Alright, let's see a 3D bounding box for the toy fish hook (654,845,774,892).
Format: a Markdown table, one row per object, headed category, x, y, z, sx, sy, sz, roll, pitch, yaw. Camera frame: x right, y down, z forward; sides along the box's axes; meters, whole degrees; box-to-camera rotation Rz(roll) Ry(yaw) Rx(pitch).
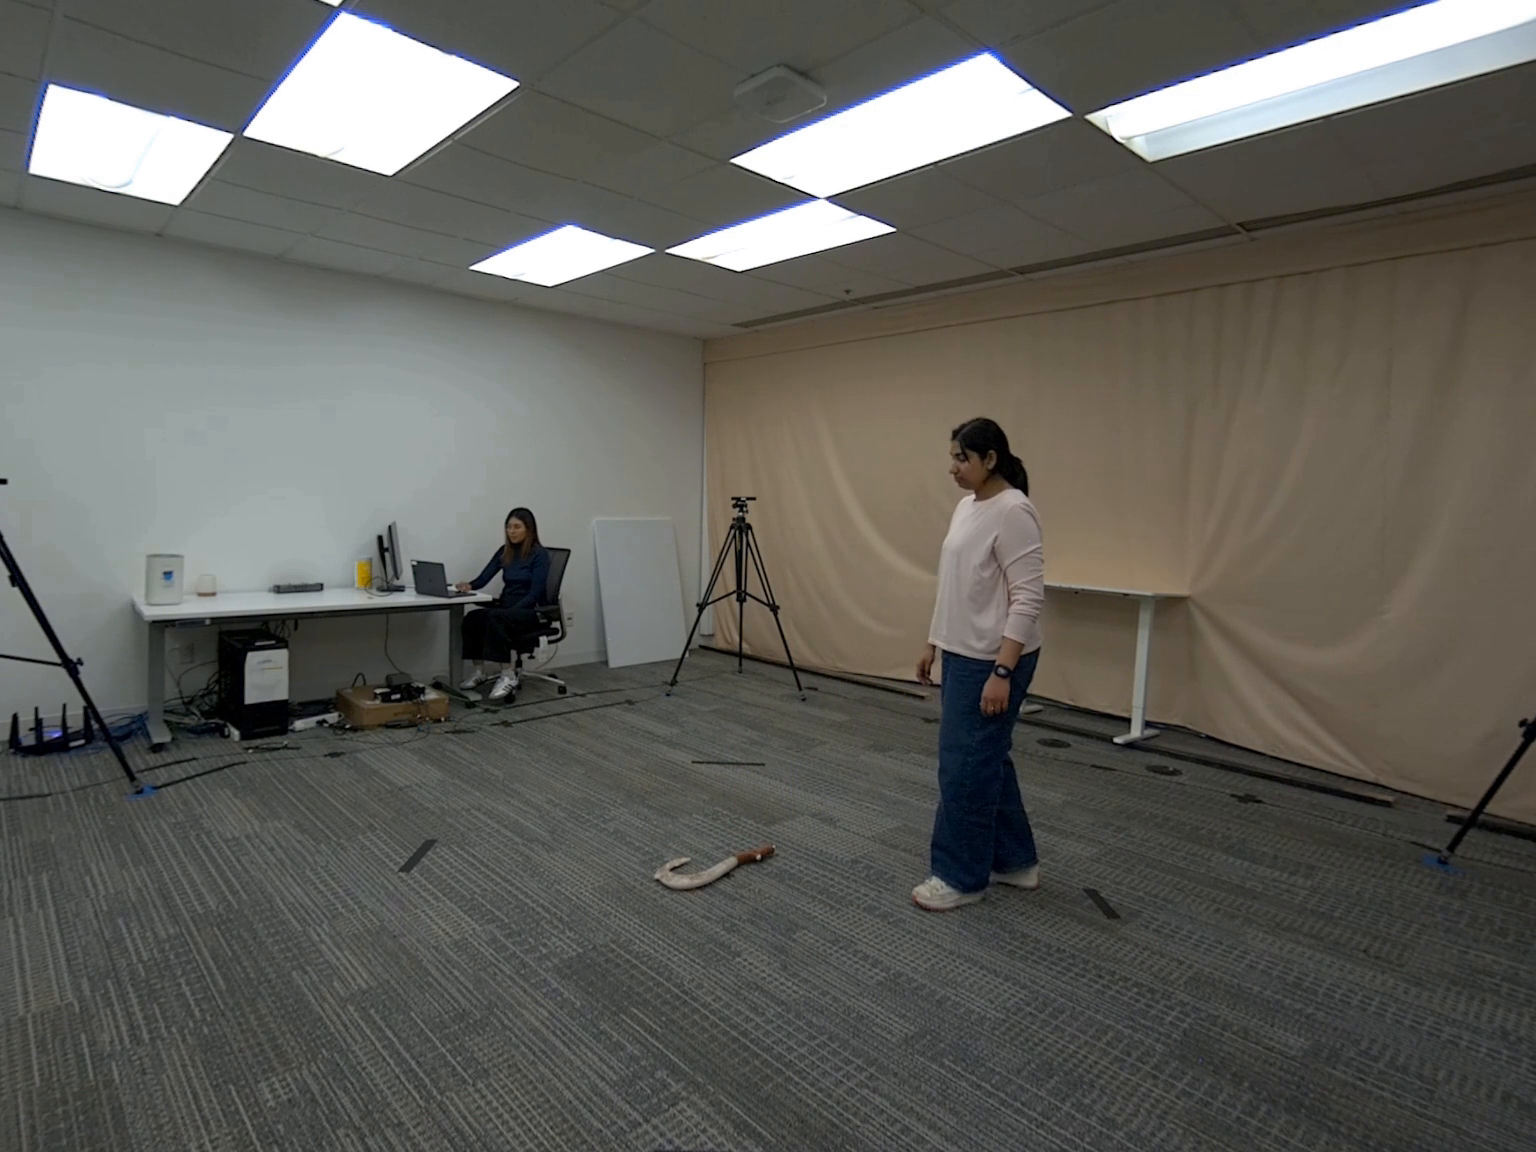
| category | x | y | z | sx | sy | sz | roll | pitch | yaw |
| --- | --- | --- | --- | --- | --- | --- | --- | --- | --- |
| toy fish hook | -0.200 | 1.071 | 3.176 | 0.495 | 0.048 | 0.230 | -3 | 8 | -41 |
